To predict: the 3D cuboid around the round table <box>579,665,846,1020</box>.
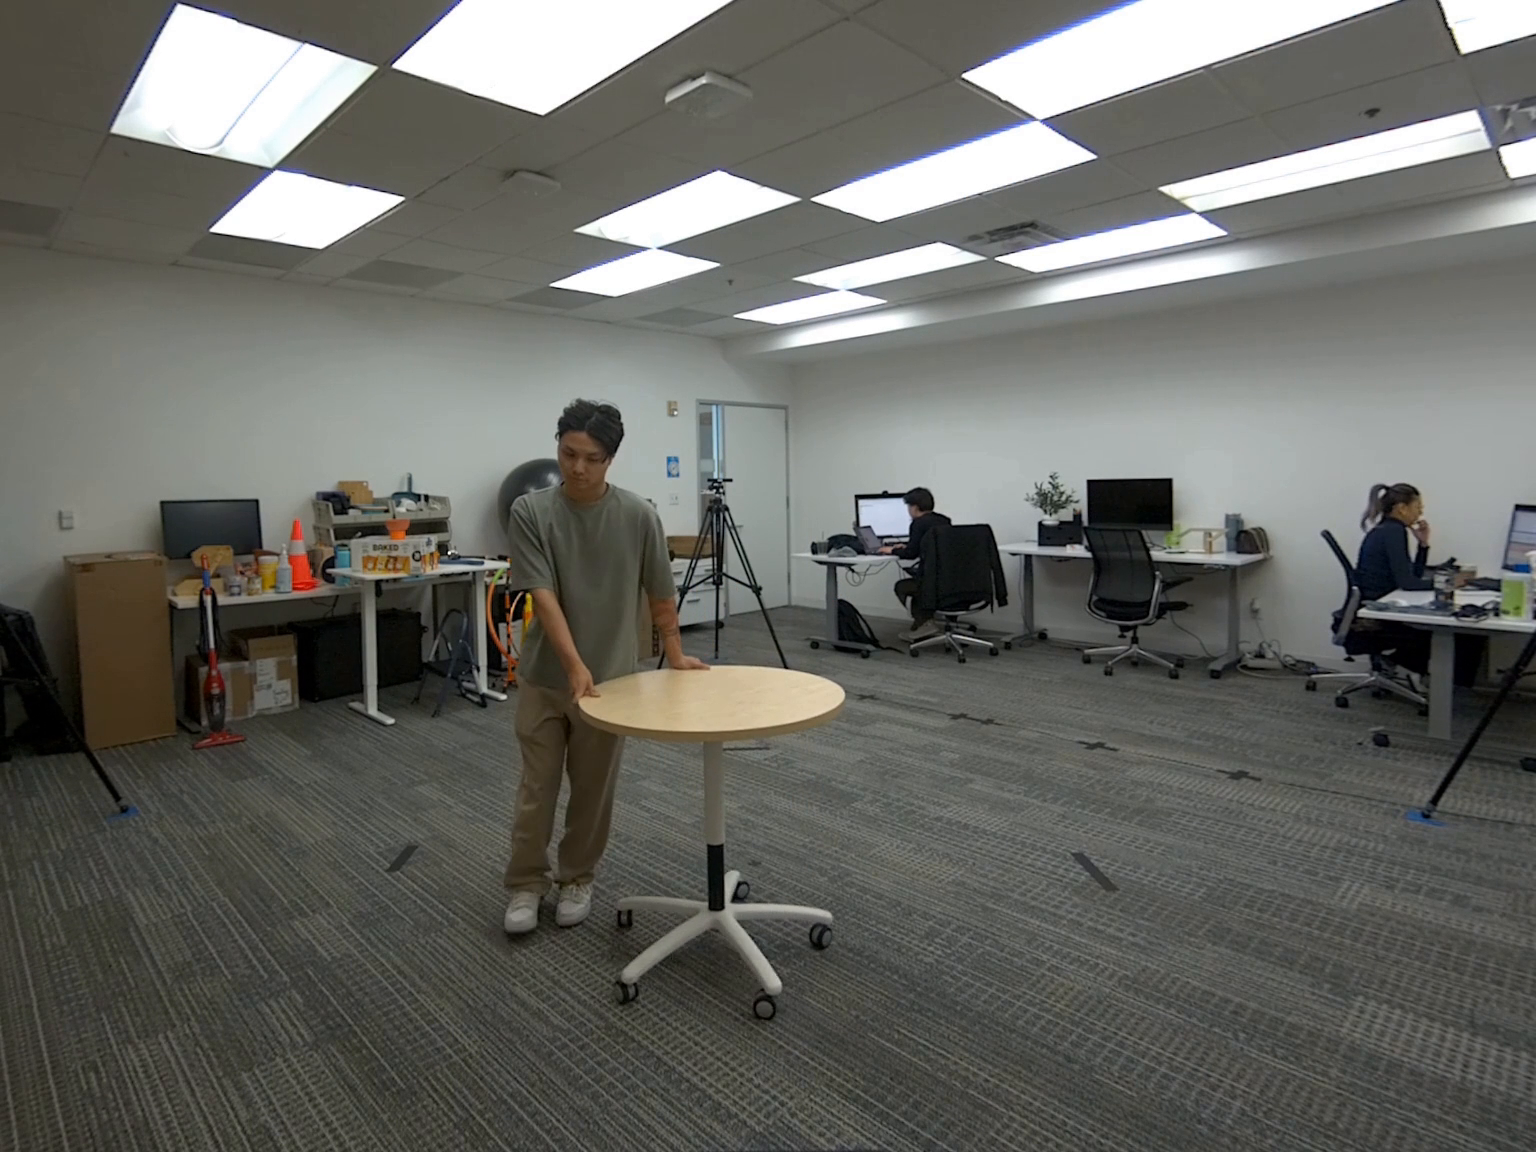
[{"bbox_3d":[-0.148,0.728,2.487,0.784,0.784,0.789,-2,4,-2],"label":"round table"}]
